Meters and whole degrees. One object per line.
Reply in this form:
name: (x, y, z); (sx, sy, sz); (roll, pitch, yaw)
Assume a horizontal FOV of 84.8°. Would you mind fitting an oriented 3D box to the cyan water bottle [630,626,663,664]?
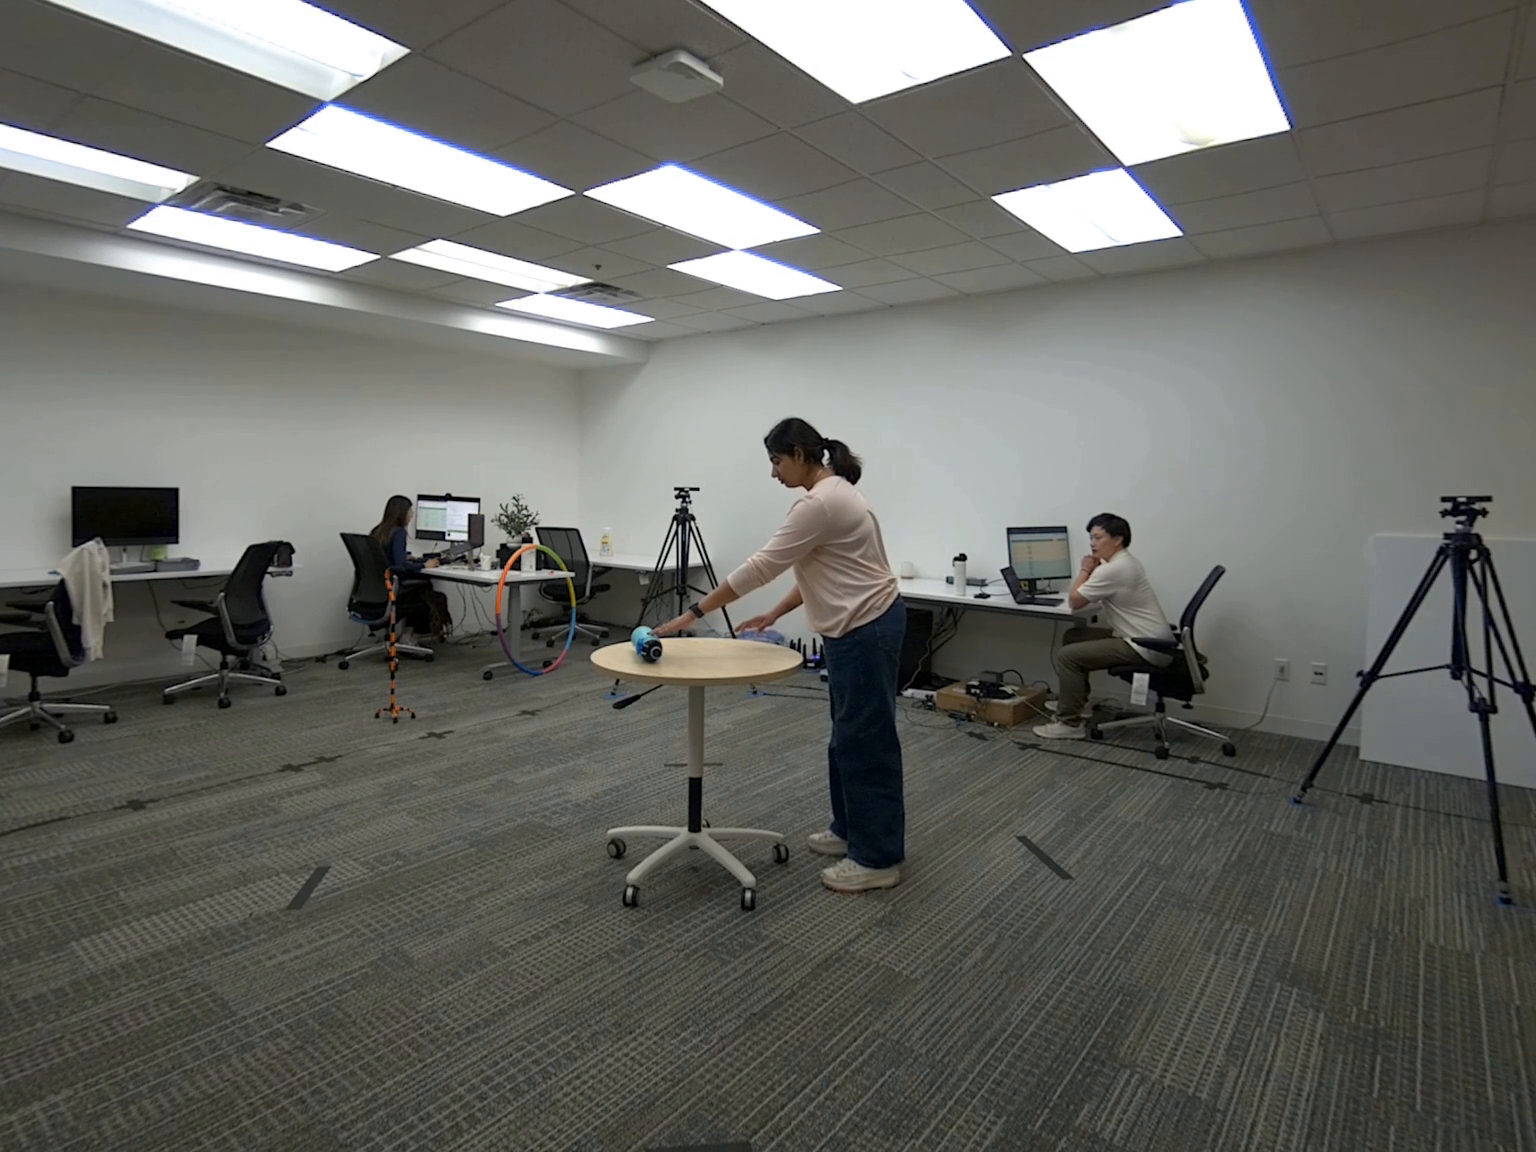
cyan water bottle: (-0.439, 0.243, 3.036); (0.091, 0.092, 0.287); (0, 5, -12)
